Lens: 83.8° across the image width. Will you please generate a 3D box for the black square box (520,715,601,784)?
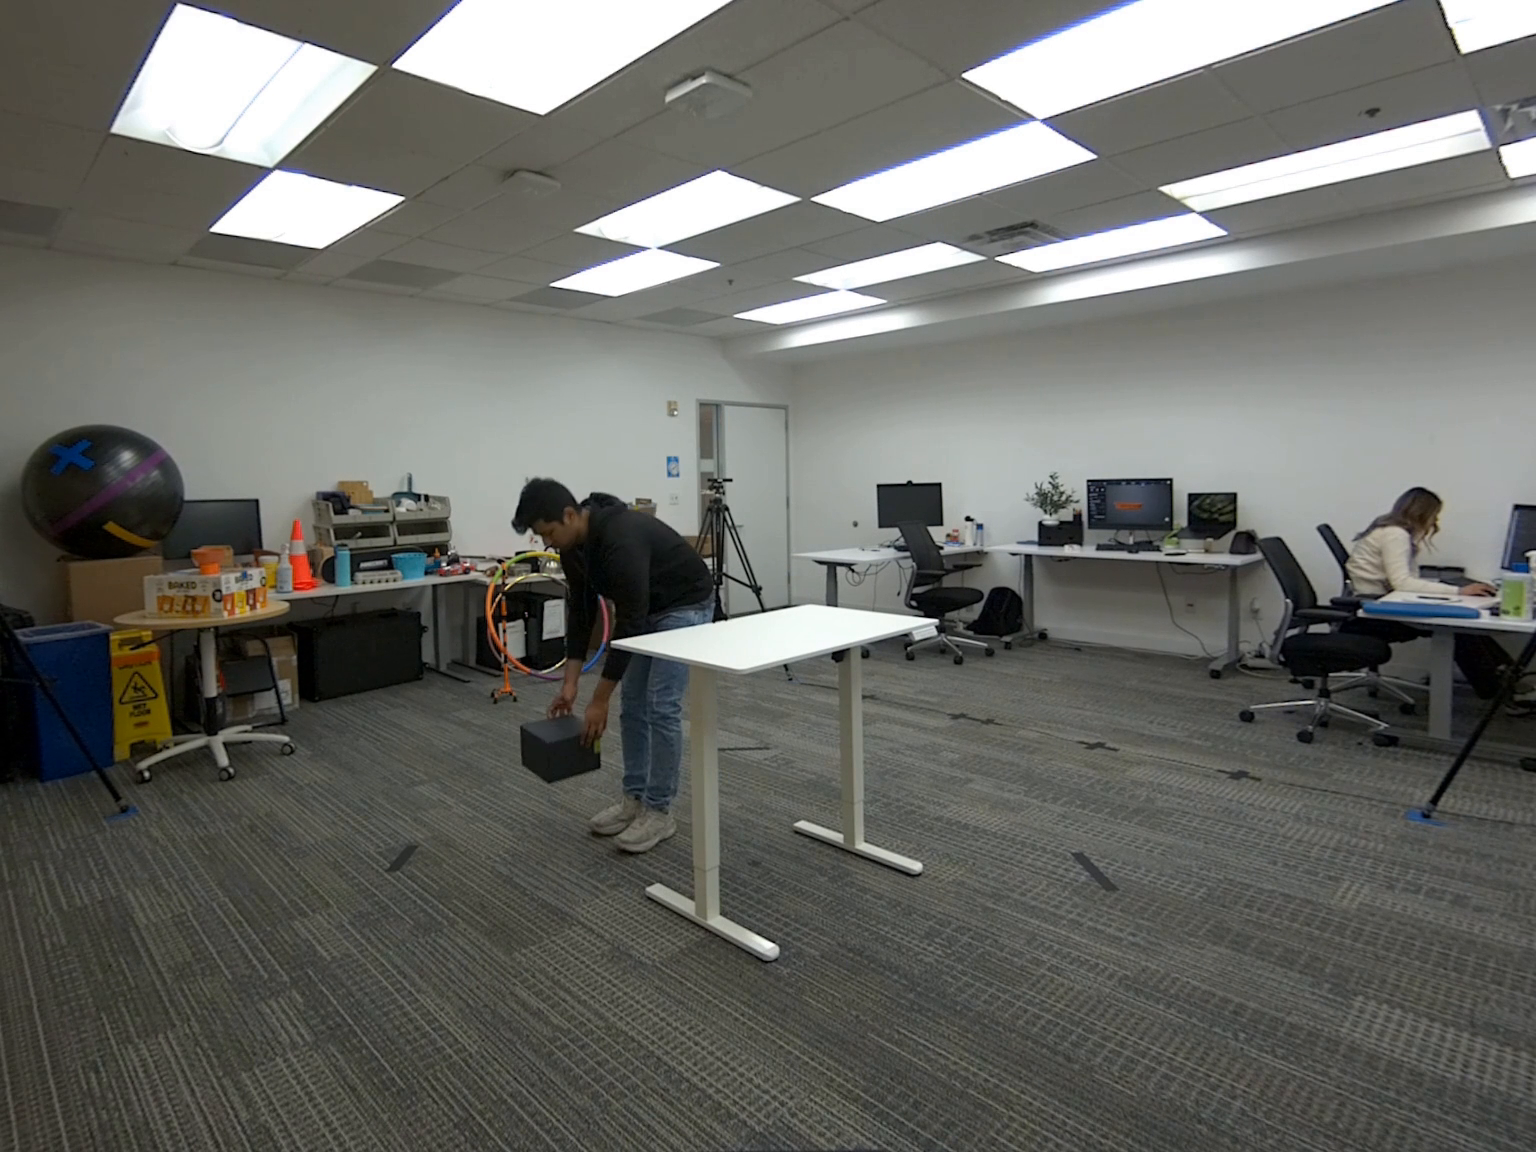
[{"bbox_3d":[-0.768,0.625,3.165,0.211,0.155,0.235,-7,11,-39],"label":"black square box"}]
